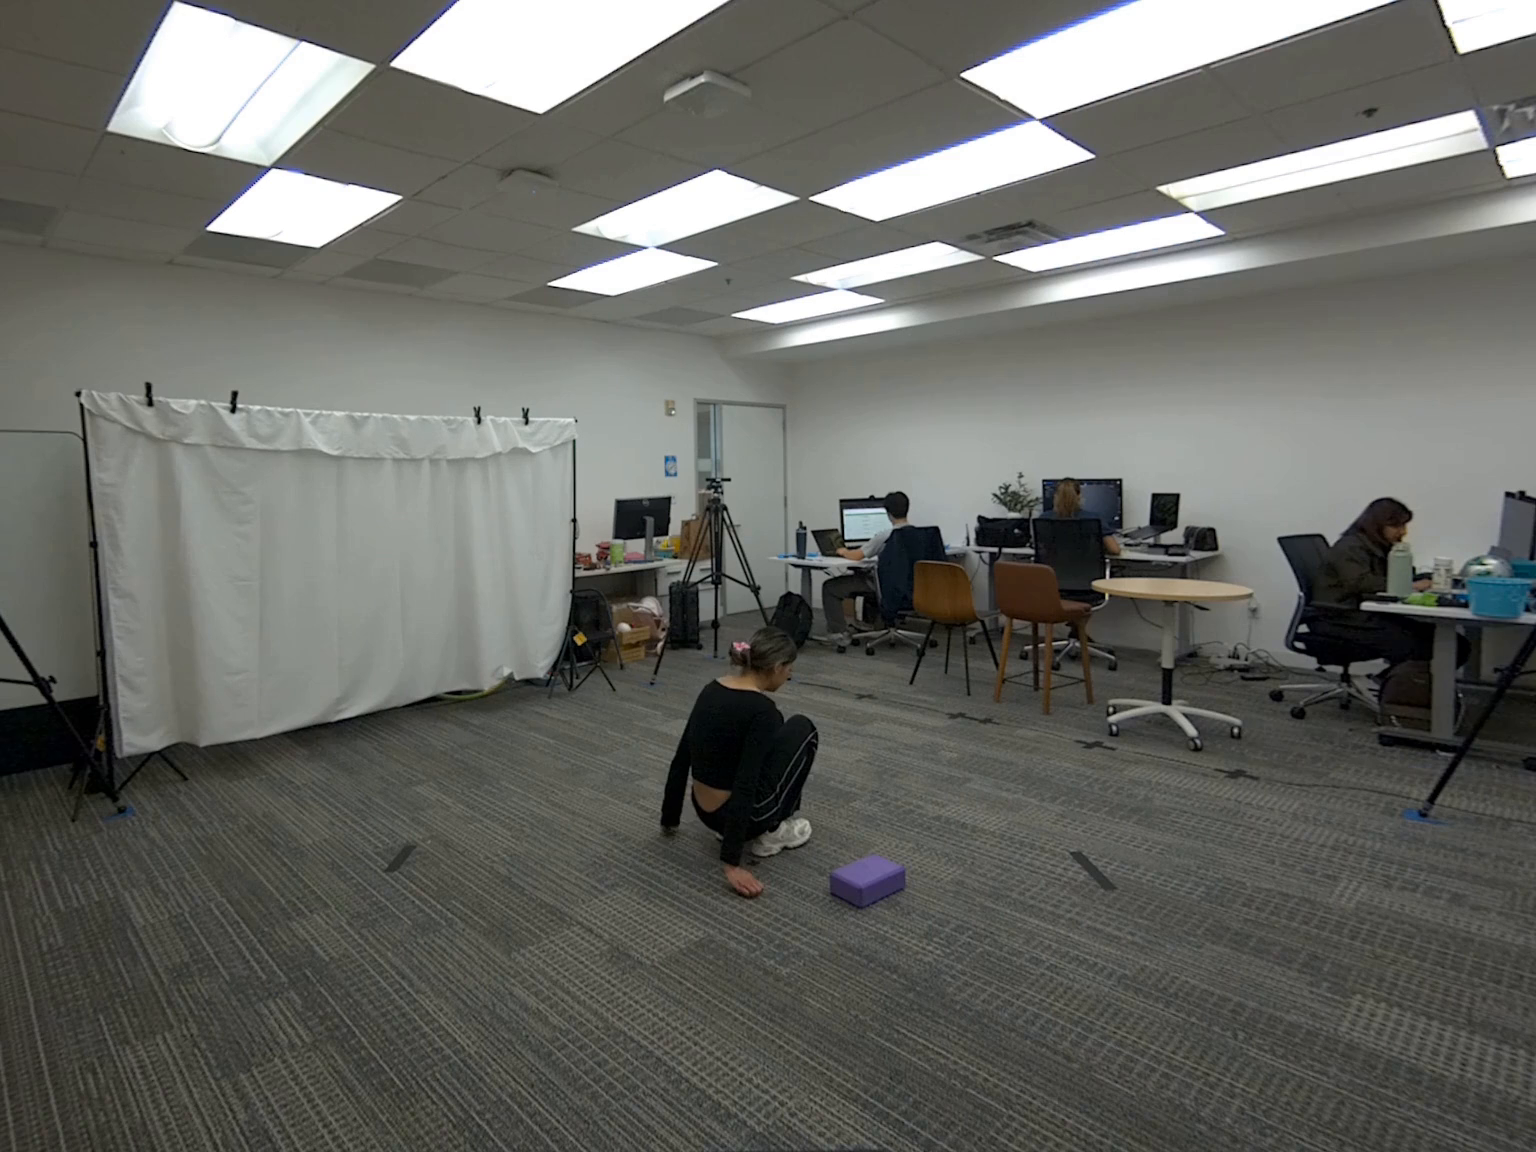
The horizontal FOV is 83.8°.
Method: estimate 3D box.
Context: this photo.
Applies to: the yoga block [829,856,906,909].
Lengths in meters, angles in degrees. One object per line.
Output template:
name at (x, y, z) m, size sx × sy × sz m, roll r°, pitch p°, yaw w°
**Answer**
yoga block at (0.339, 1.022, 2.873) m, size 0.223 × 0.076 × 0.154 m, roll -5°, pitch 8°, yaw -40°
